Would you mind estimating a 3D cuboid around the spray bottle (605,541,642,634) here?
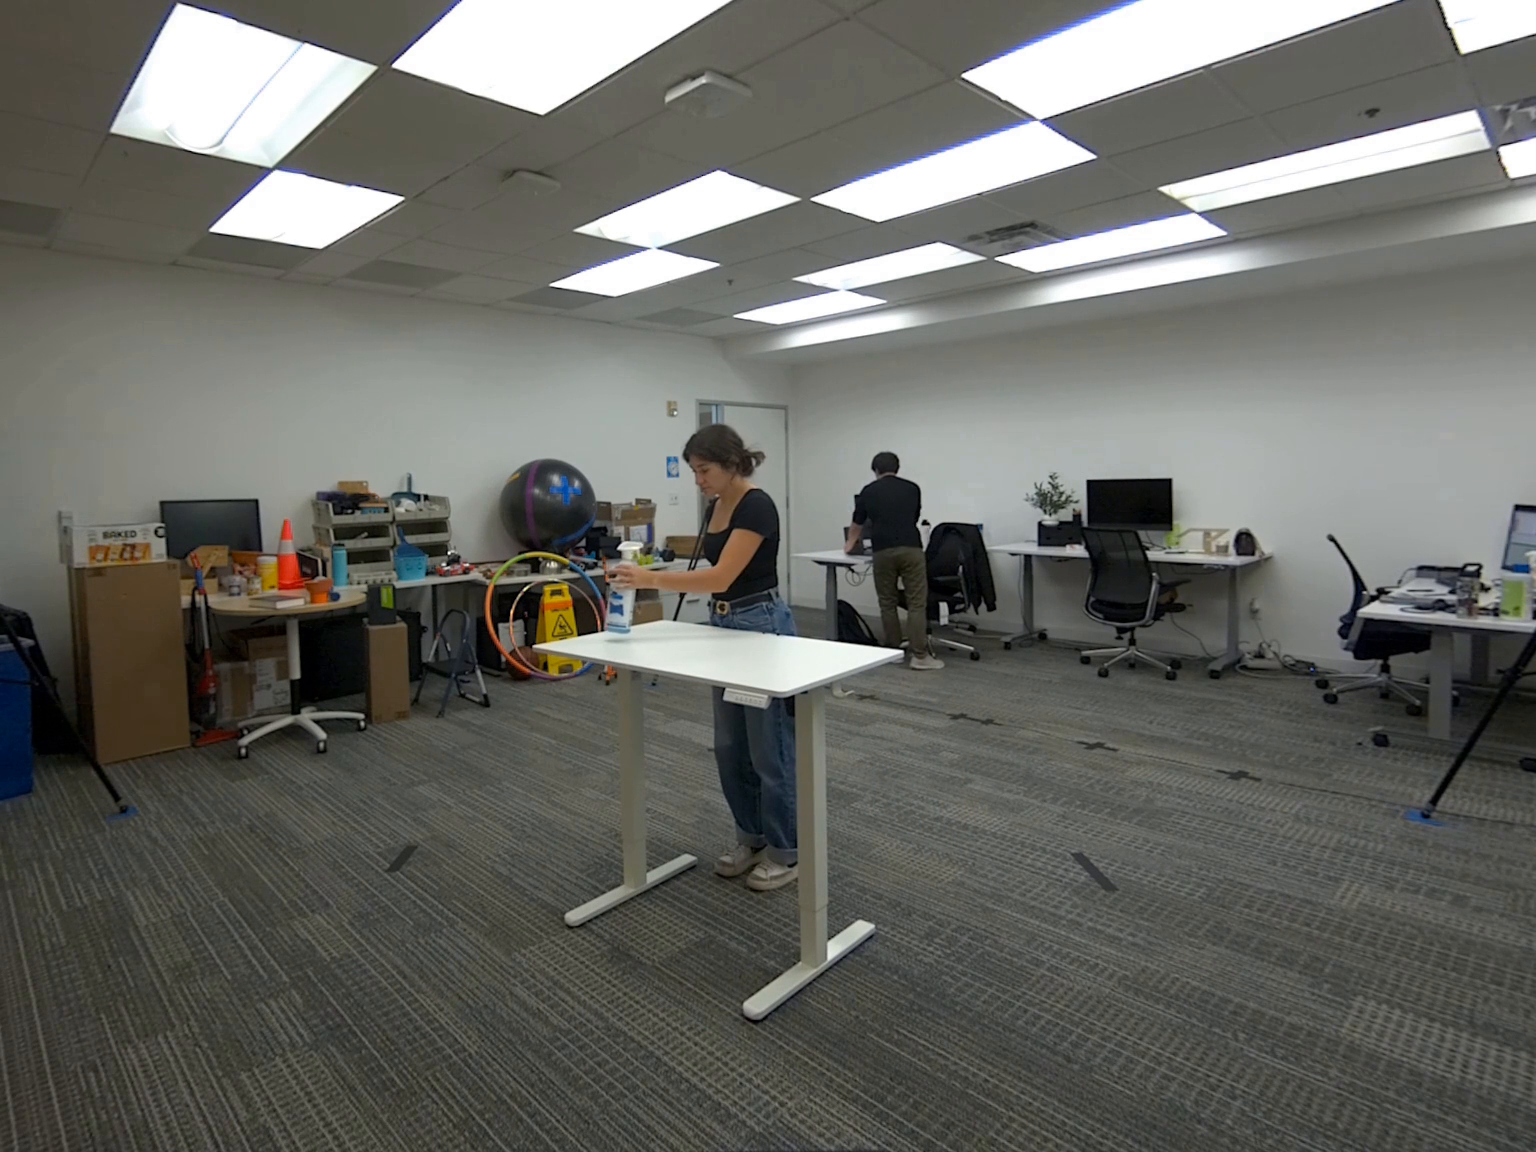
[{"bbox_3d":[-0.468,0.036,2.773,0.089,0.297,0.088,9,0,-13],"label":"spray bottle"}]
